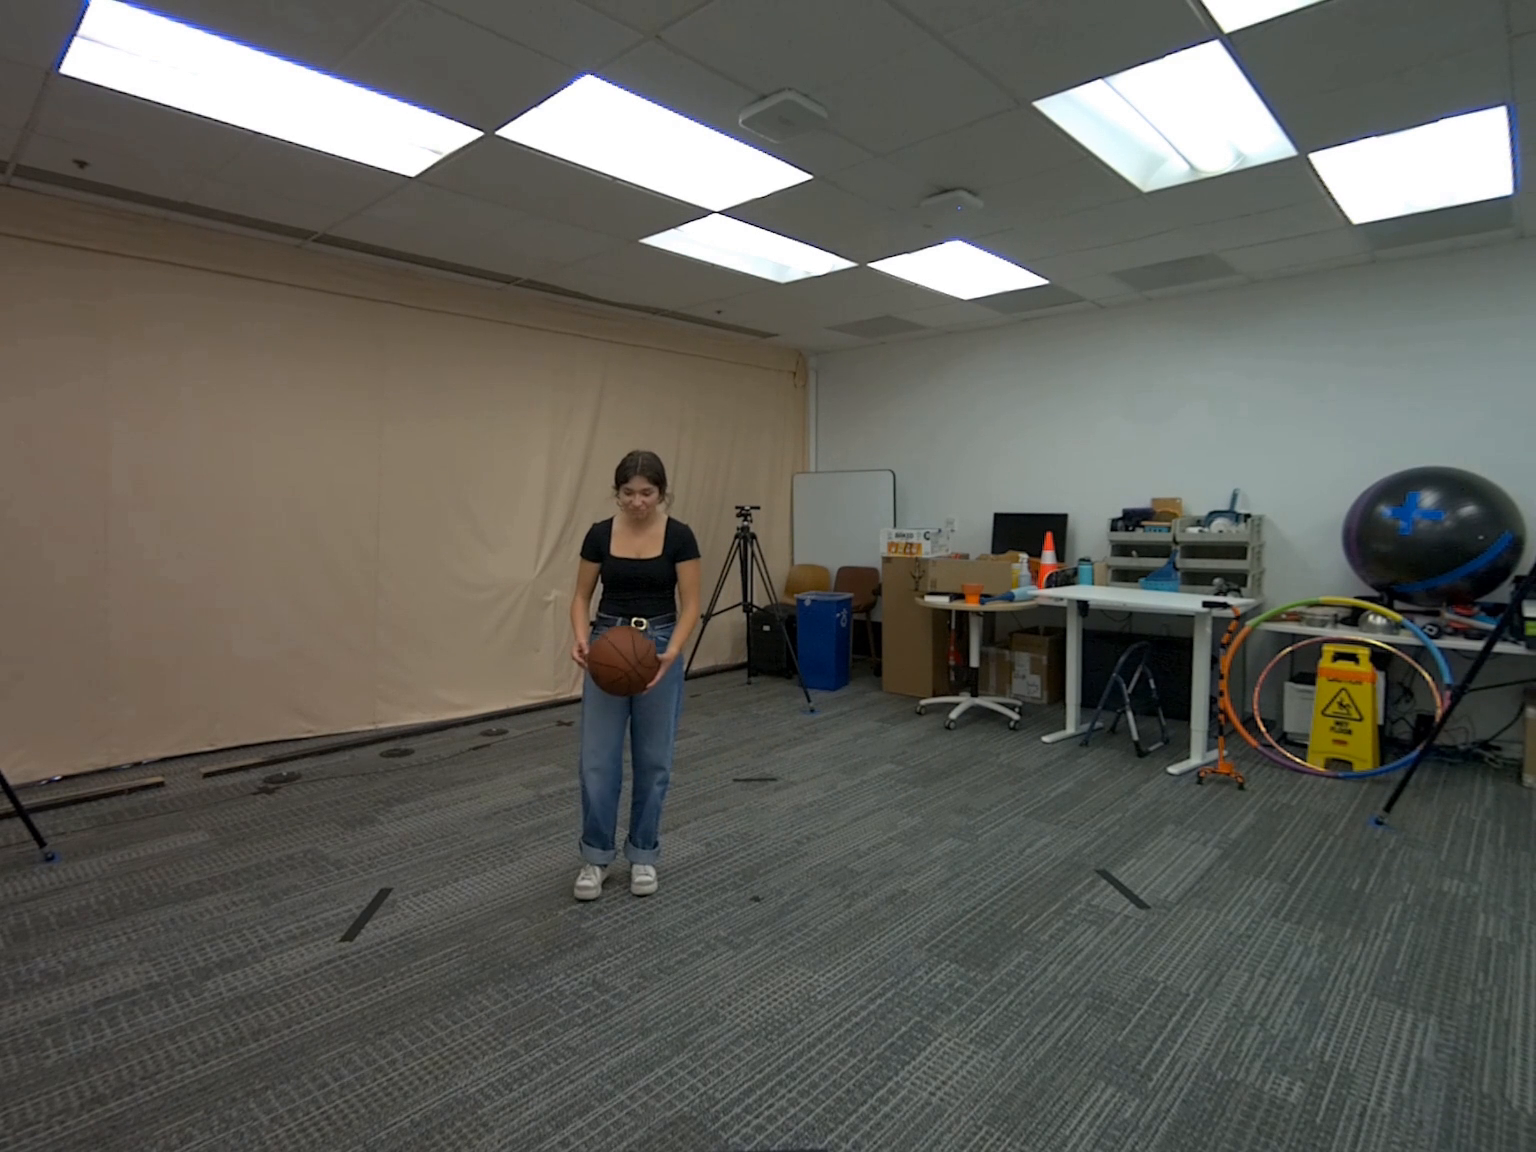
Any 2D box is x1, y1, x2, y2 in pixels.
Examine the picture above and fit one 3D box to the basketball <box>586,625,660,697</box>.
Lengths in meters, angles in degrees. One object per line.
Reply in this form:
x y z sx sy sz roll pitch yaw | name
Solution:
-0.483 0.287 2.828 0.236 0.235 0.237 0 4 -2 | basketball
